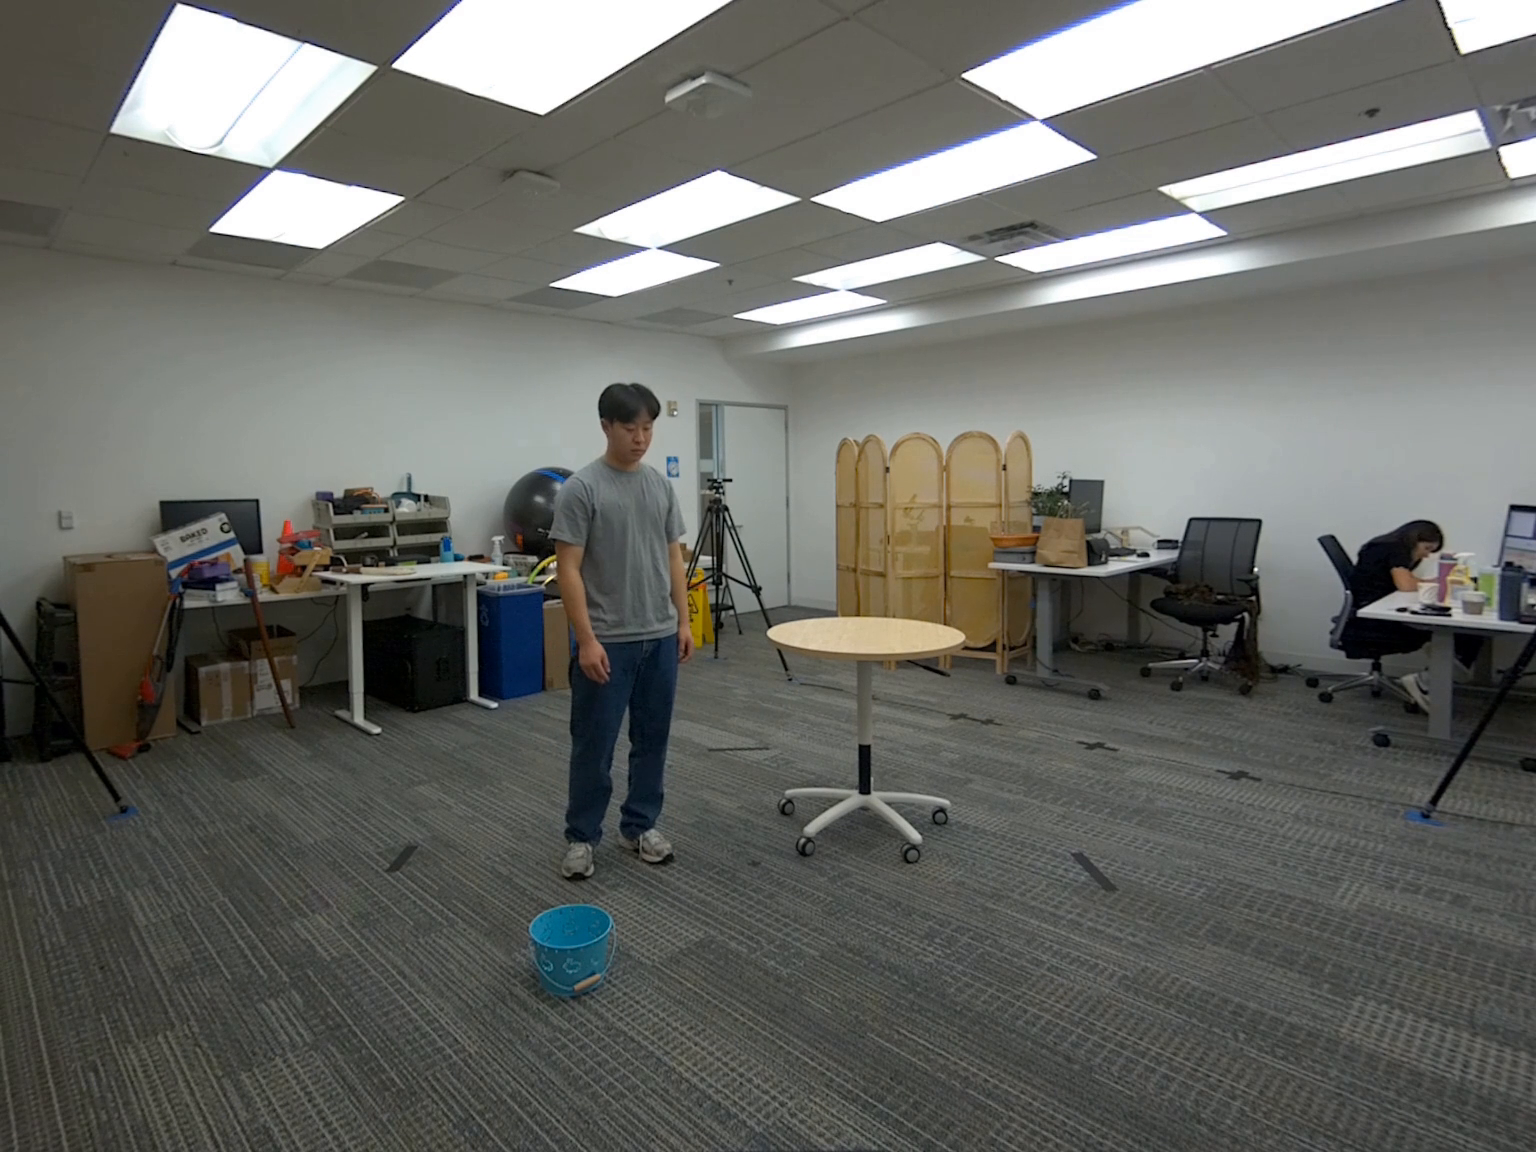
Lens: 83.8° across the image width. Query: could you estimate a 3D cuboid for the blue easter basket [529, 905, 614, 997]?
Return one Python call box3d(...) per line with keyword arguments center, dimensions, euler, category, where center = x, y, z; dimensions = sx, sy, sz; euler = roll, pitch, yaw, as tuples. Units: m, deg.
box3d(center=(-0.557, 1.065, 2.411), dimensions=(0.243, 0.155, 0.245), euler=(-2, 5, -2), category="blue easter basket")
